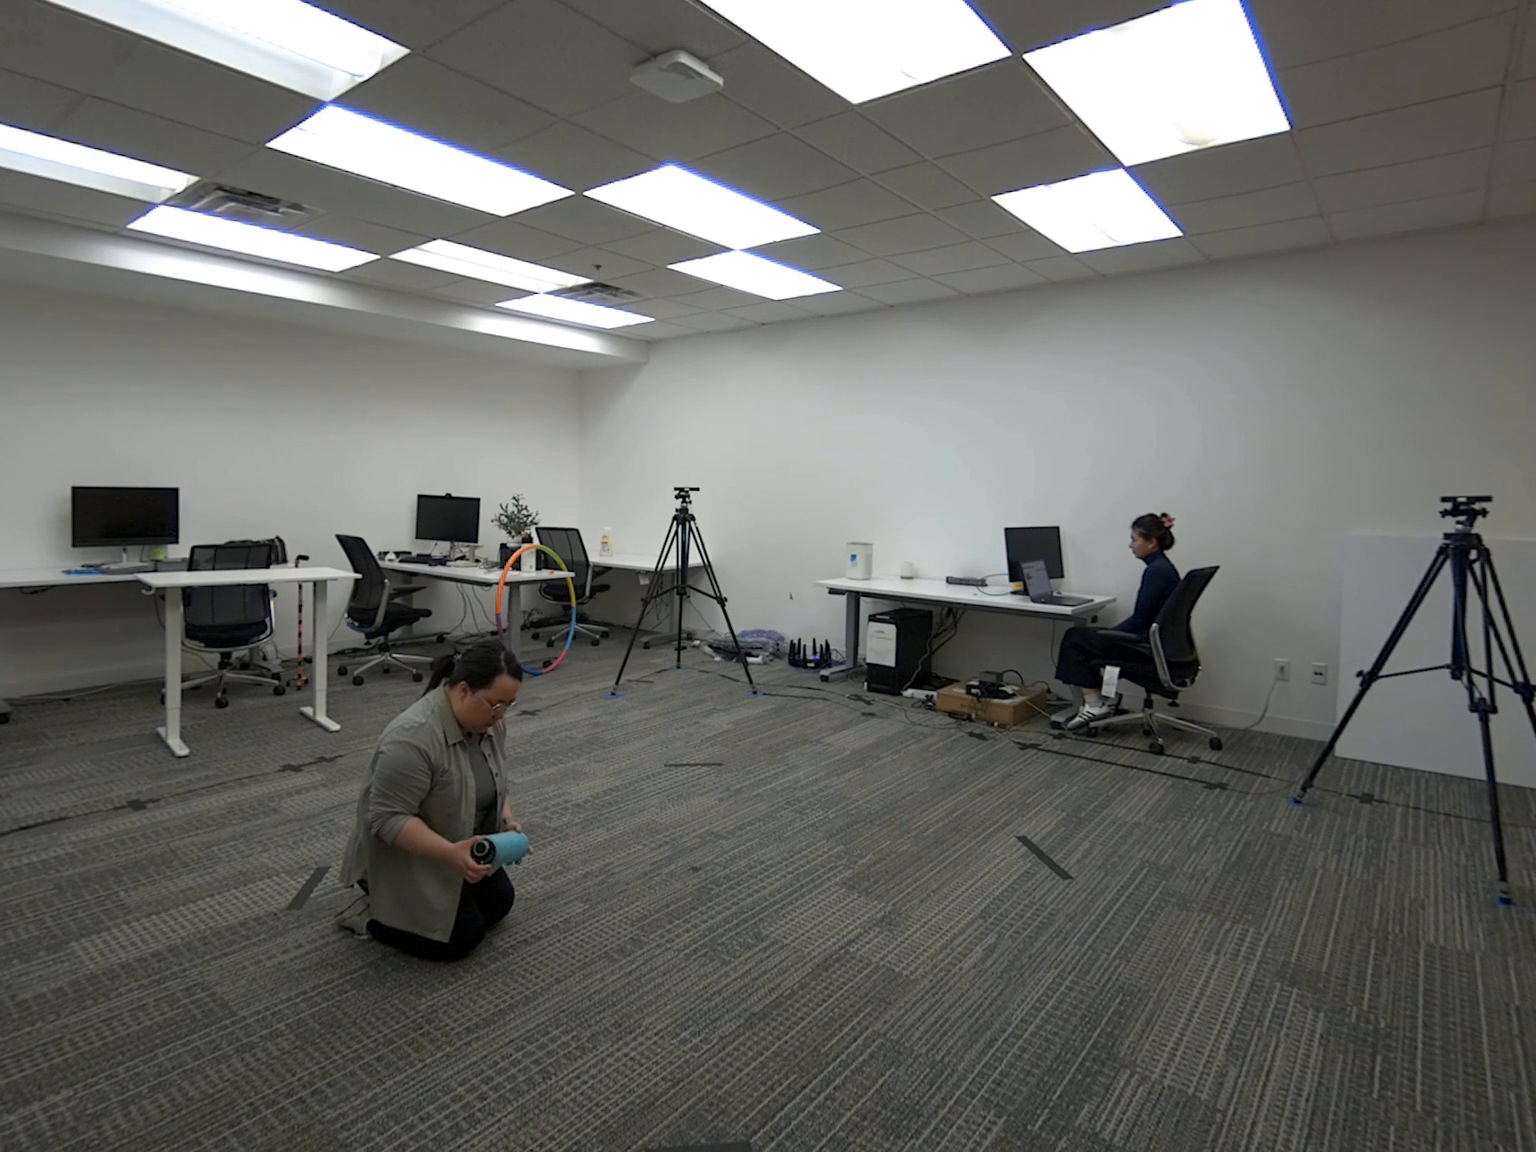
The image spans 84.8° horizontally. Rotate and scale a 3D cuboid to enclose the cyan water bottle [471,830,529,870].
[{"bbox_3d":[-0.813,0.823,2.493,0.093,0.093,0.277,2,-13,6],"label":"cyan water bottle"}]
